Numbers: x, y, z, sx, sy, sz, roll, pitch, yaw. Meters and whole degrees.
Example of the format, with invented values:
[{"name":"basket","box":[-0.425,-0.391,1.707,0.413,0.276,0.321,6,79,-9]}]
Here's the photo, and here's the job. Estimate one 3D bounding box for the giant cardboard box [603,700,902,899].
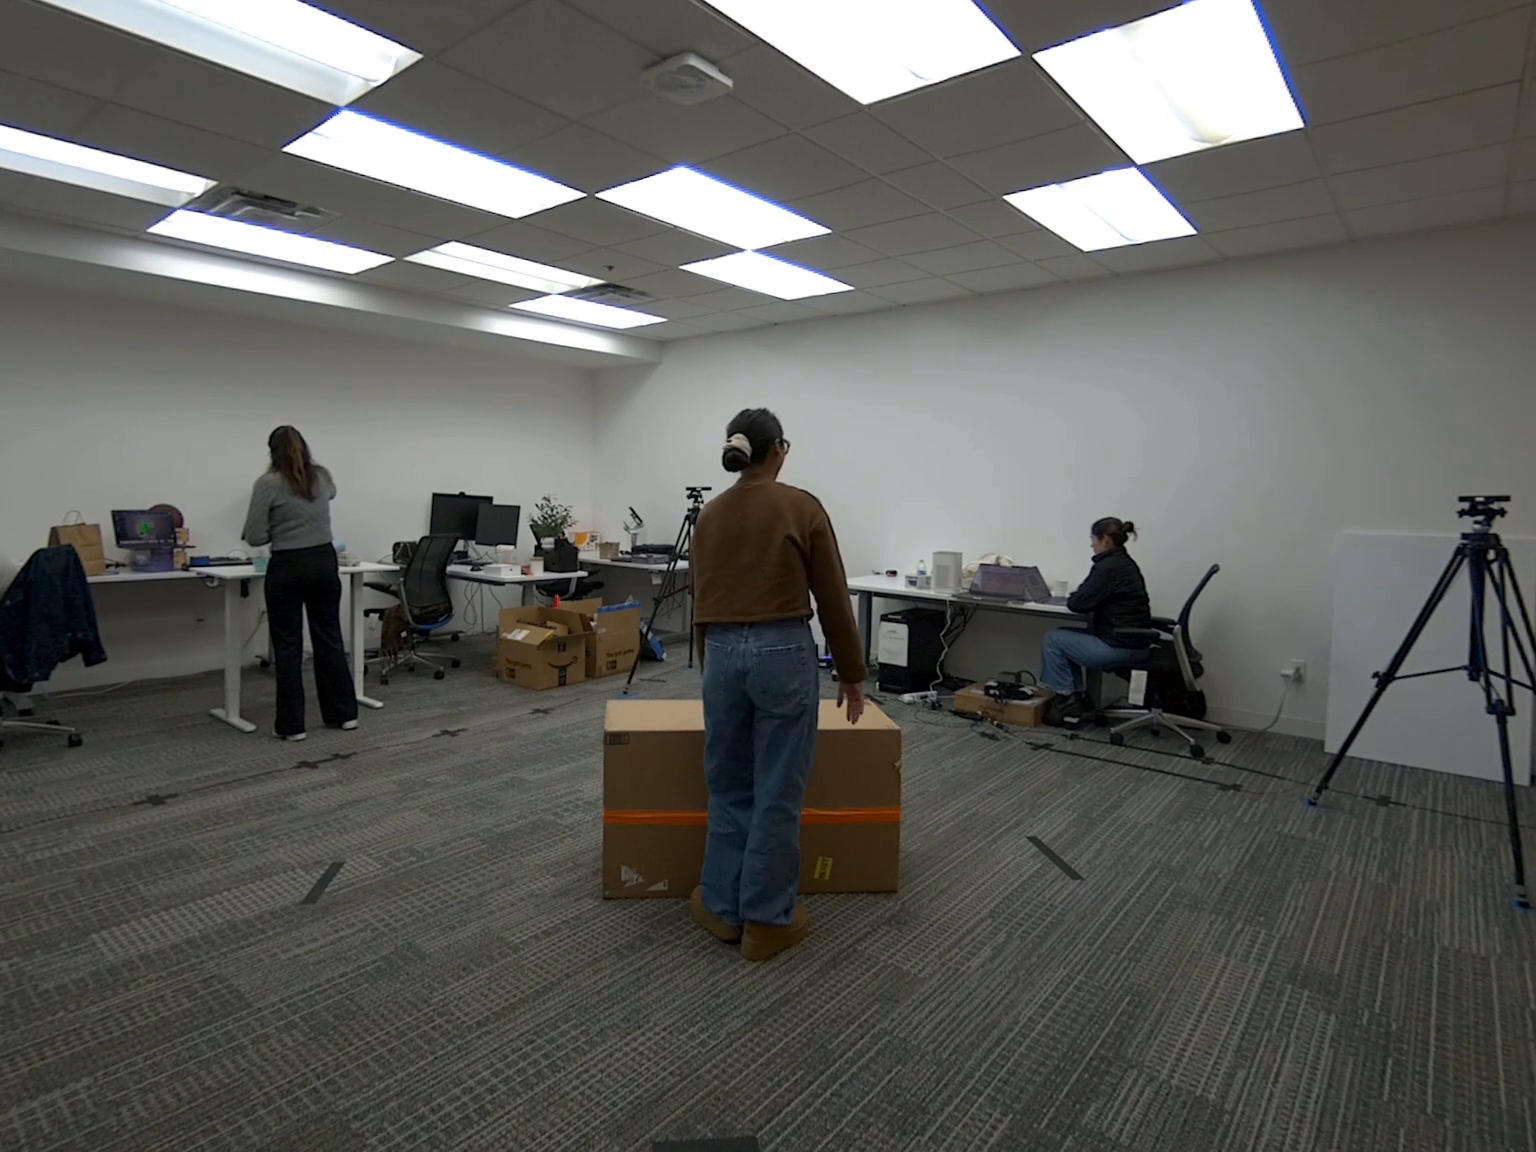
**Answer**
[{"name":"giant cardboard box","box":[-0.085,0.784,3.093,1.021,0.583,0.450,0,2,-6]}]
